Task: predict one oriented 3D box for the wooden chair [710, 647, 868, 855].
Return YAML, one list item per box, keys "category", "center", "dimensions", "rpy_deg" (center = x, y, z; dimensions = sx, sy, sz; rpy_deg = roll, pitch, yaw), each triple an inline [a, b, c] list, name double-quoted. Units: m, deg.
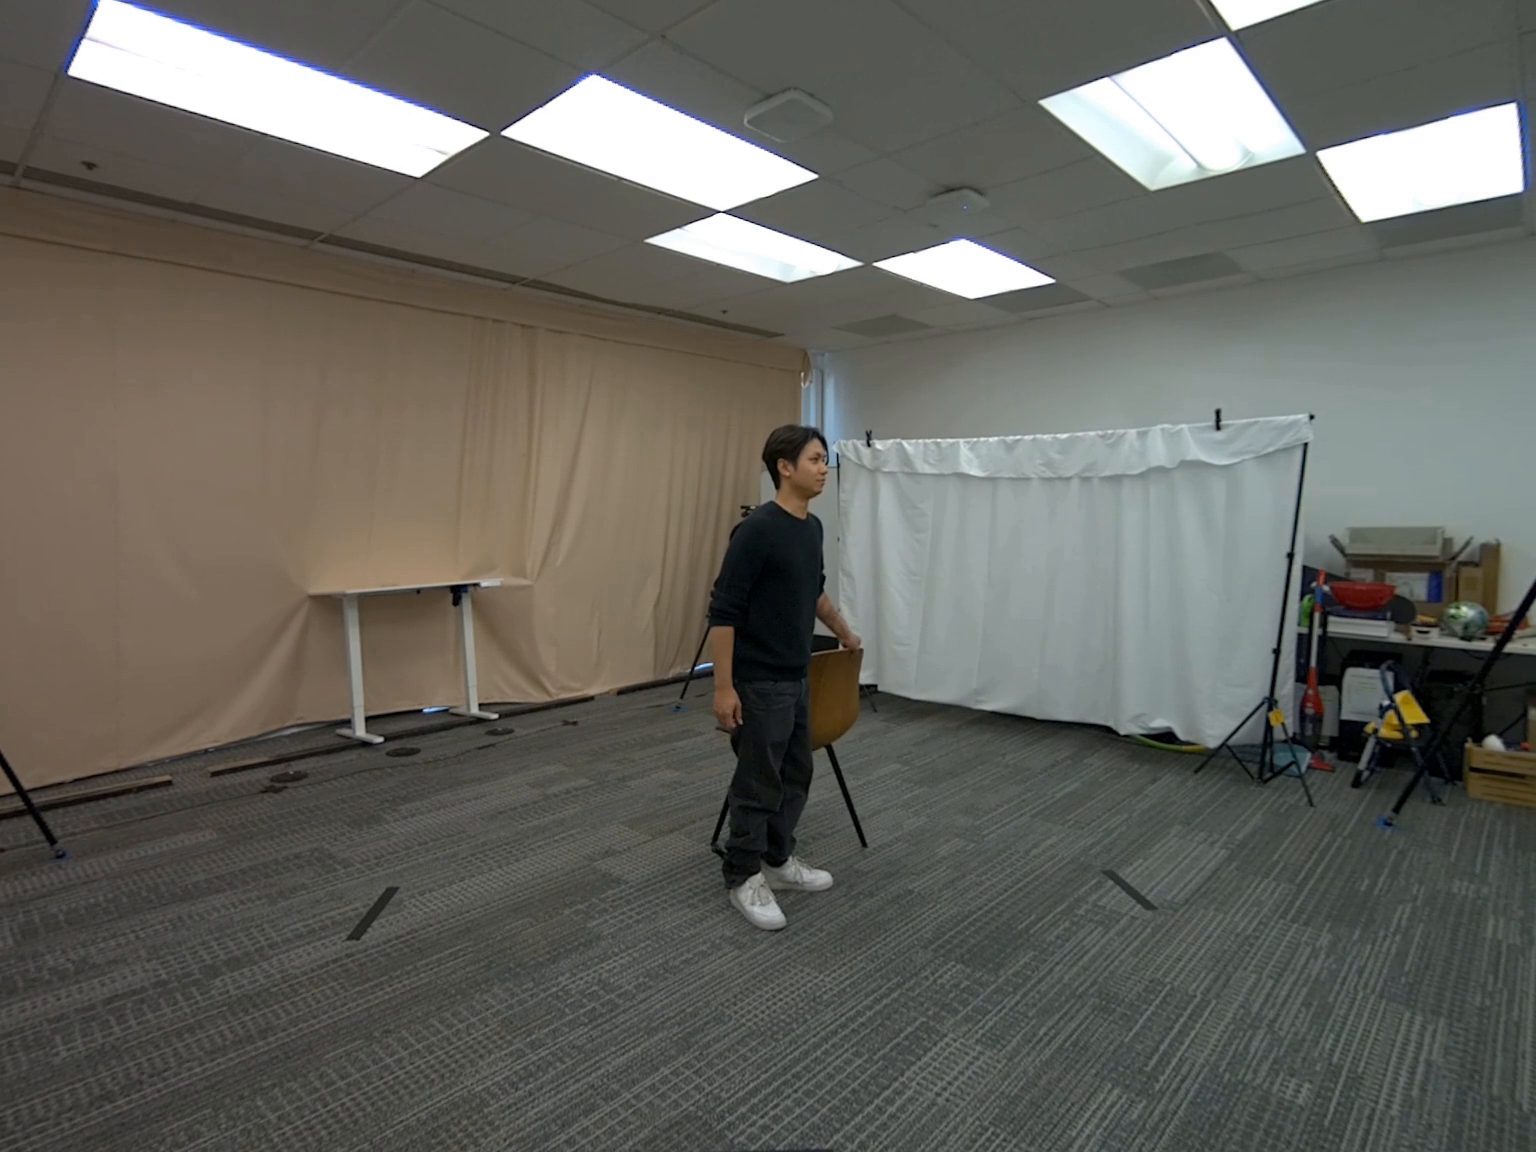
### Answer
- category: "wooden chair"
  center: [0.087, 0.679, 3.436]
  dimensions: [0.463, 0.874, 0.541]
  rpy_deg: [-3, 9, -43]
